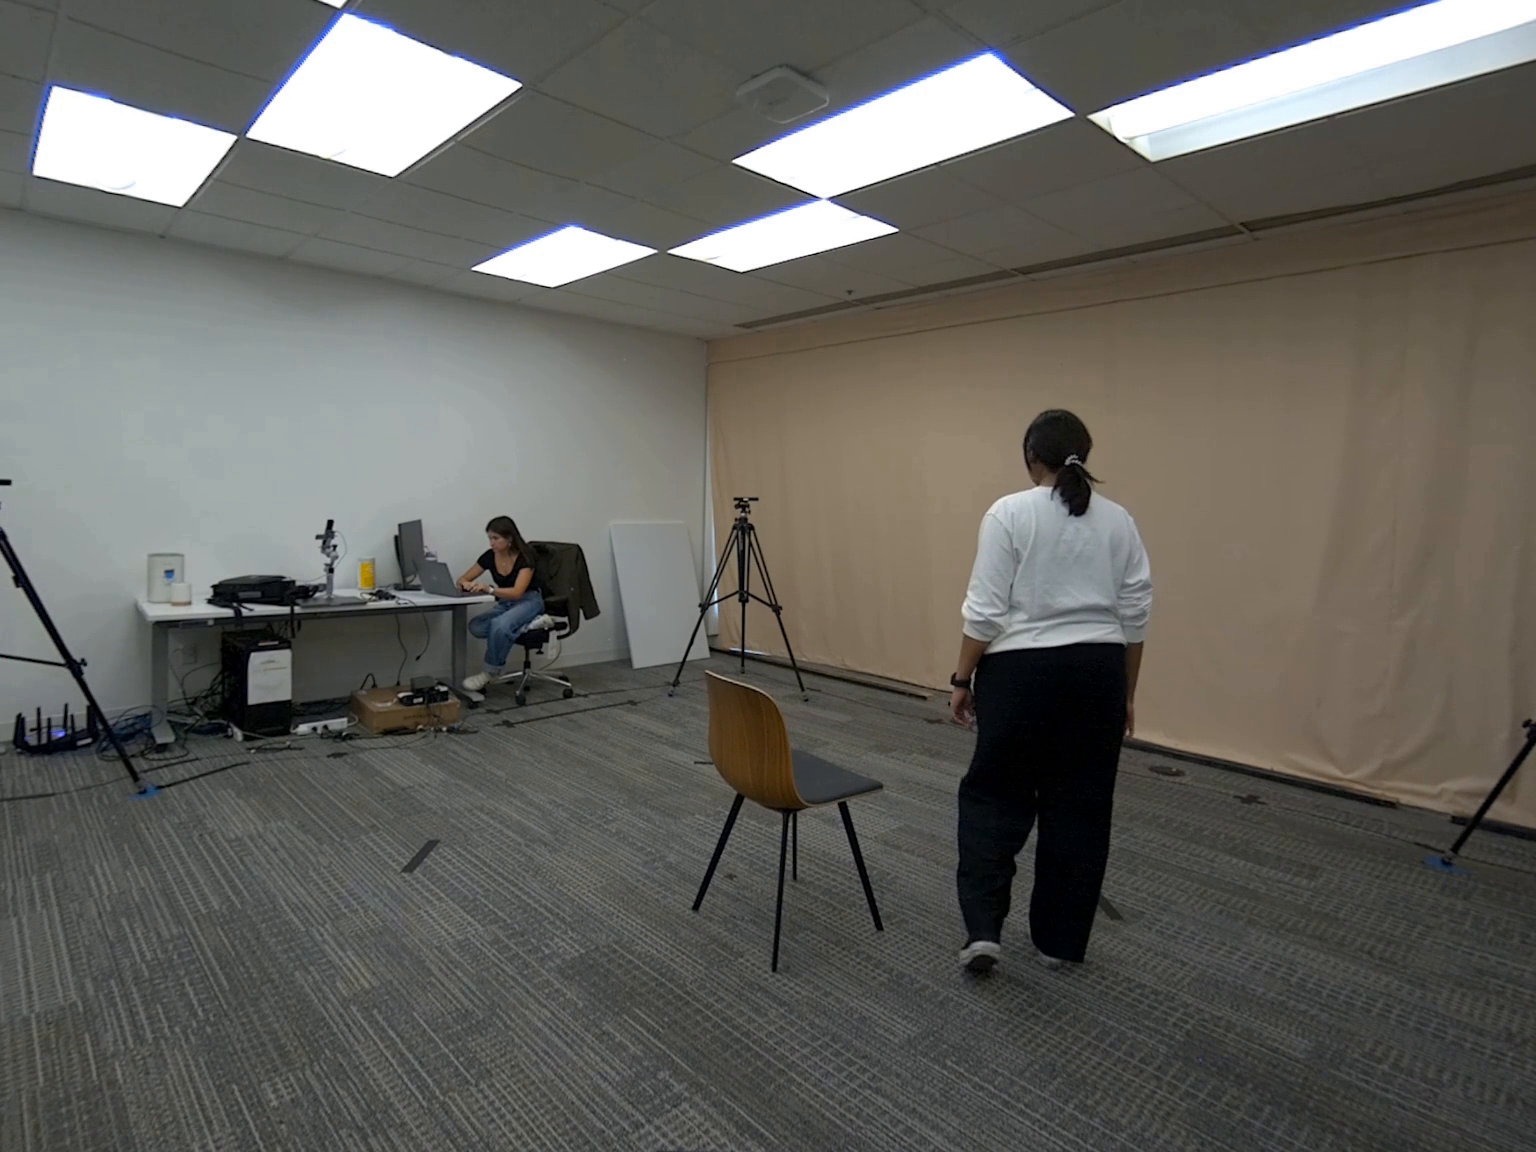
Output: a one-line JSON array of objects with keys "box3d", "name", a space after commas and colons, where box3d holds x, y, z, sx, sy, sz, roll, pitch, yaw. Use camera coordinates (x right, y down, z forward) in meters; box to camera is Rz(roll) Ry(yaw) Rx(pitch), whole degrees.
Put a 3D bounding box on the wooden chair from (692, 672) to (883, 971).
[{"box3d": [0.073, 0.713, 2.768, 0.513, 0.873, 0.490, -7, 7, -36], "name": "wooden chair"}]
